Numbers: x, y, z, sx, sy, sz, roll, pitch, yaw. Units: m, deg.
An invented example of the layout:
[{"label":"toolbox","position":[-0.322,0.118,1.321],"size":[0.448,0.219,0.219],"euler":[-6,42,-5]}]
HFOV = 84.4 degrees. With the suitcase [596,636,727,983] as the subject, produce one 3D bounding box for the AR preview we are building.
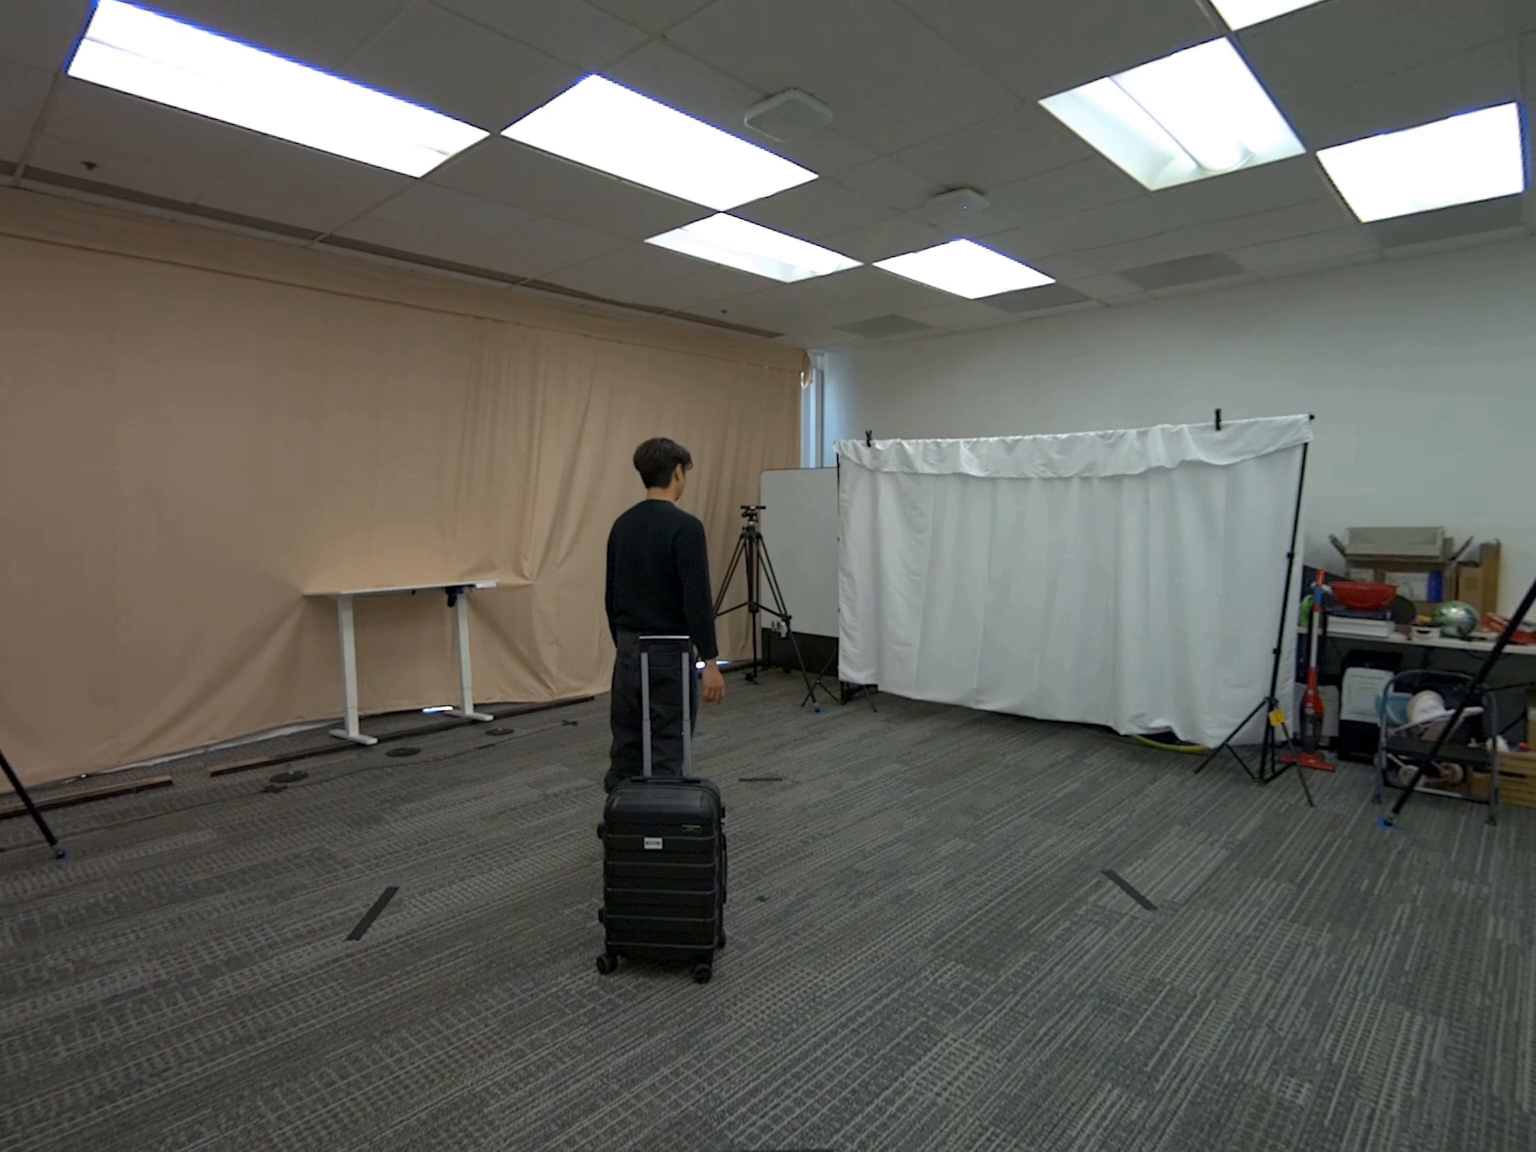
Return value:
[{"label":"suitcase","position":[-0.318,0.705,2.561],"size":[0.387,0.975,0.256],"euler":[0,5,7]}]
